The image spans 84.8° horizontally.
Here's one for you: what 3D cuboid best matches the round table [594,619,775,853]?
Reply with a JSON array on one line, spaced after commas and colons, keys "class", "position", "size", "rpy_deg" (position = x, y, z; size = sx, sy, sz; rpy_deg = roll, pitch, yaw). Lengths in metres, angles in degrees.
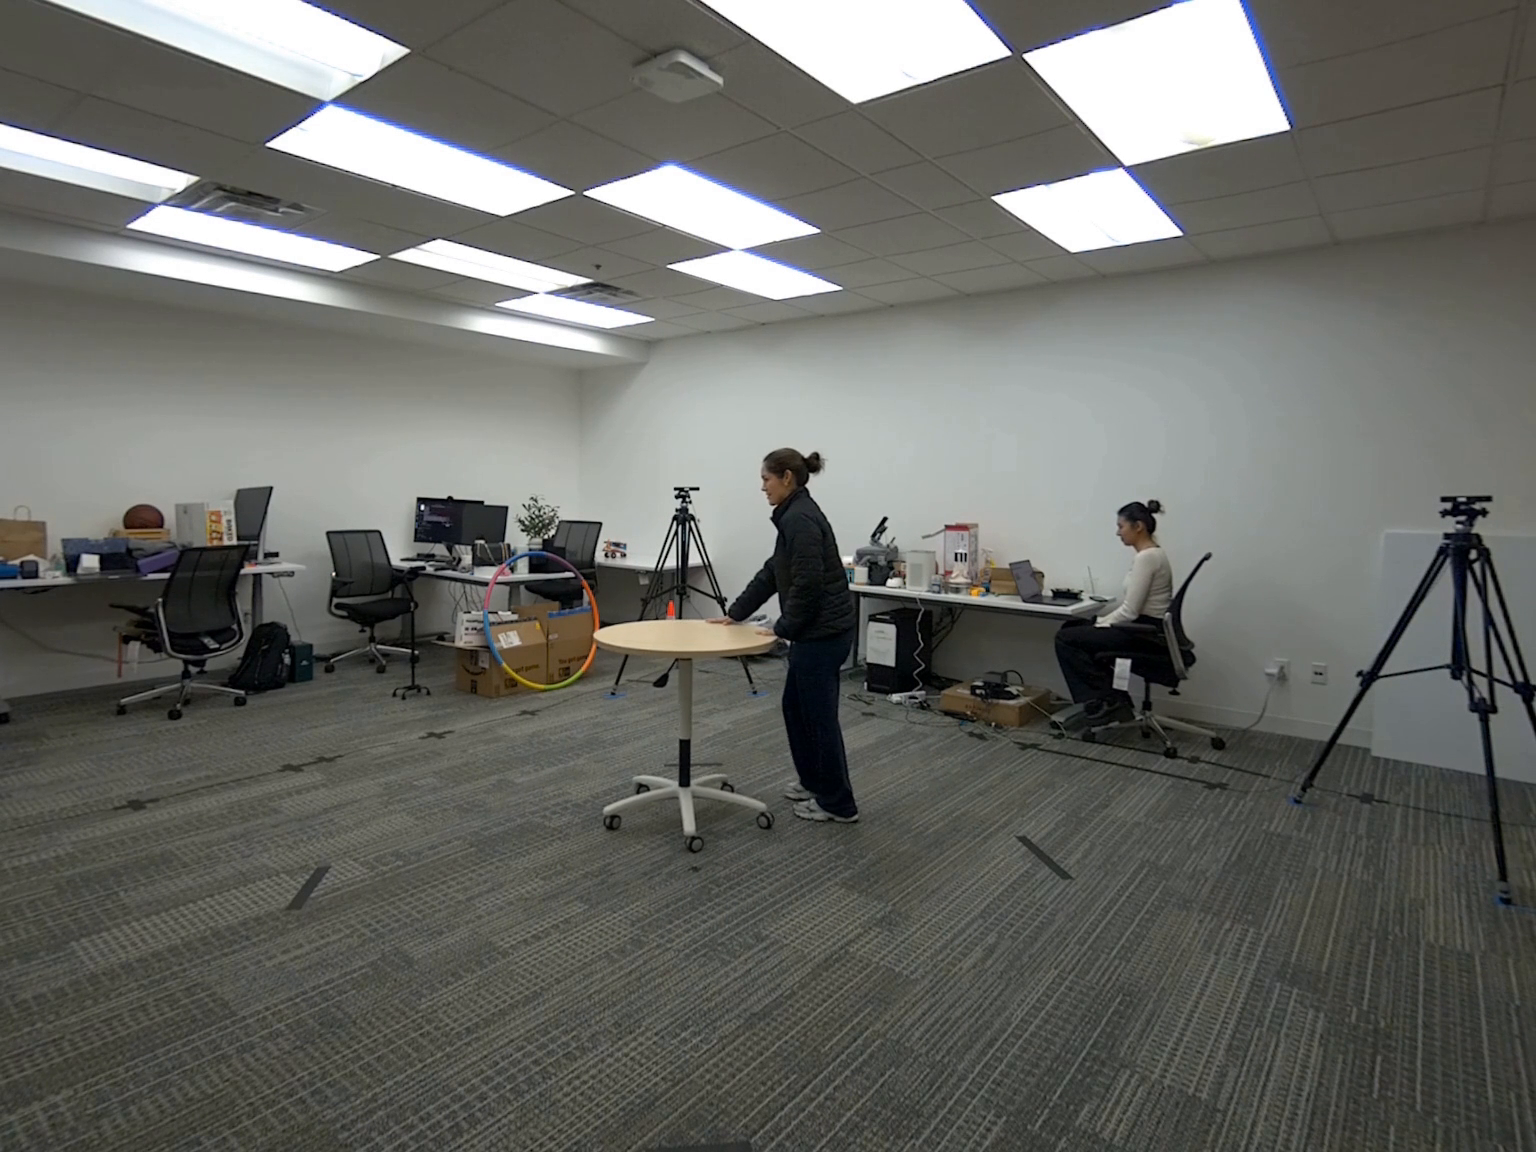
[{"class": "round table", "position": [-0.319, 0.625, 3.588], "size": [0.784, 0.784, 0.789], "rpy_deg": [1, 4, -2]}]
